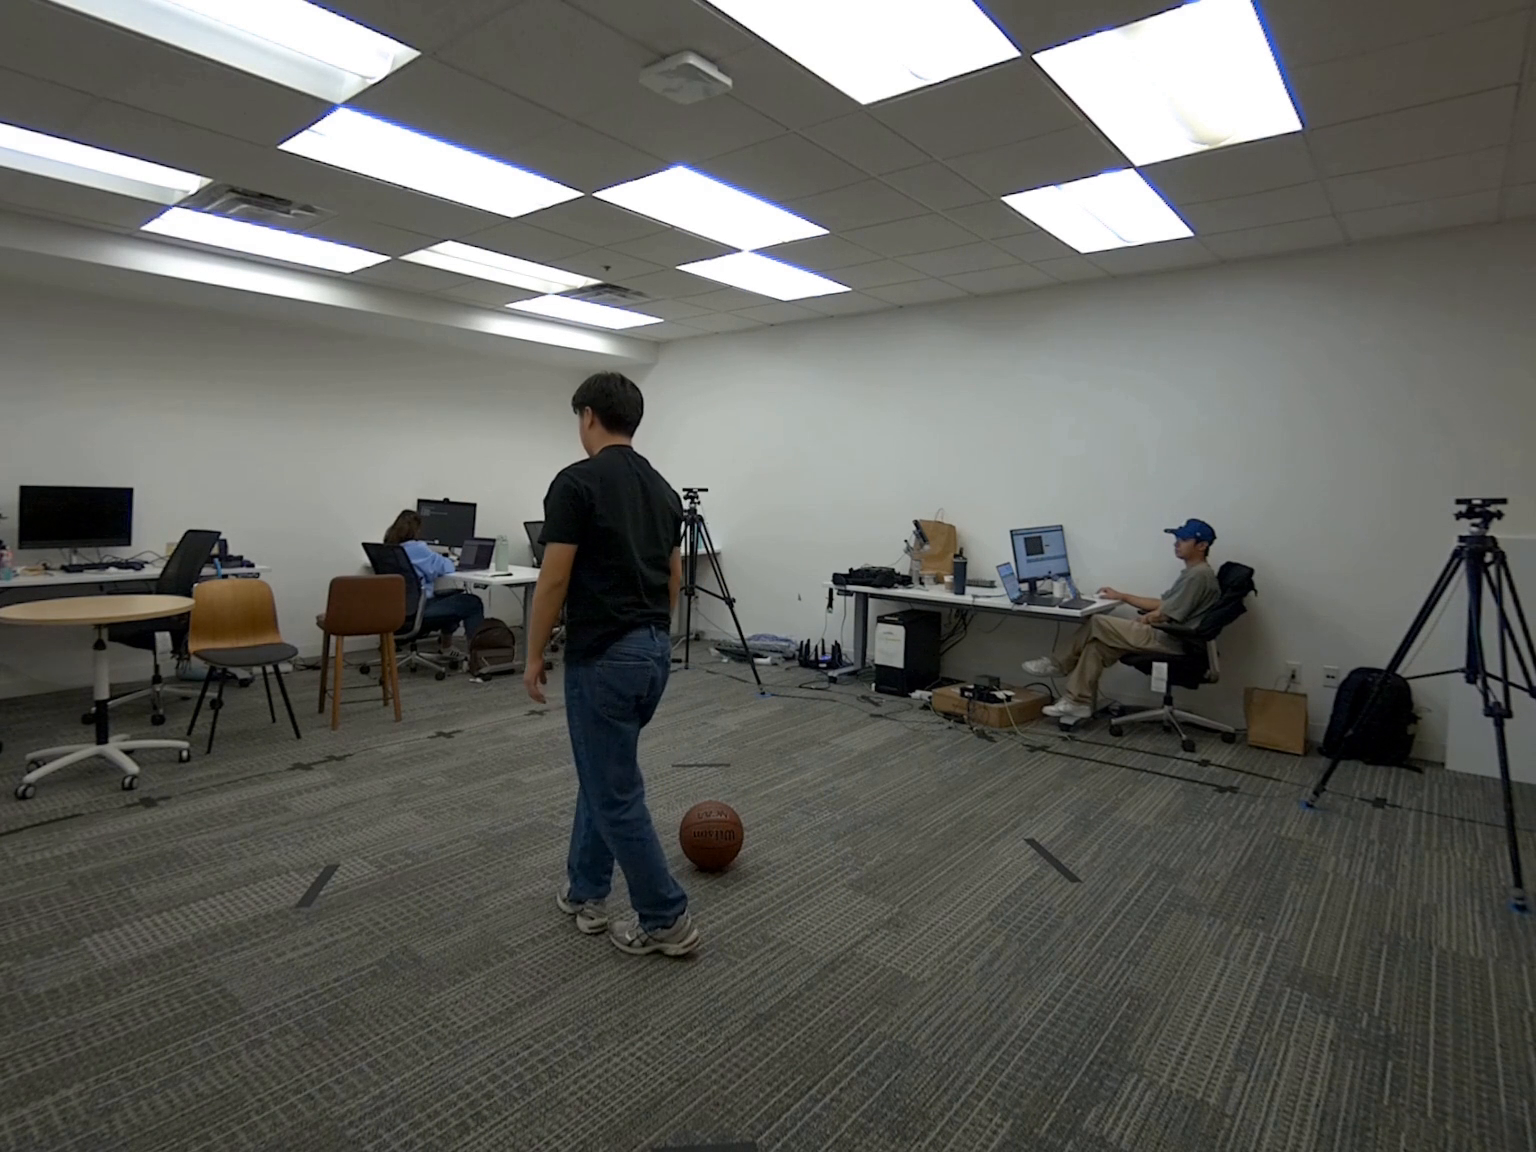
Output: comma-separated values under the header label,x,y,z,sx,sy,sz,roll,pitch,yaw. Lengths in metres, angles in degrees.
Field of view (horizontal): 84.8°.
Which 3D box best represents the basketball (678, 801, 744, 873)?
label,x,y,z,sx,sy,sz,roll,pitch,yaw
basketball,-0.217,0.946,3.130,0.236,0.235,0.237,1,4,-2
